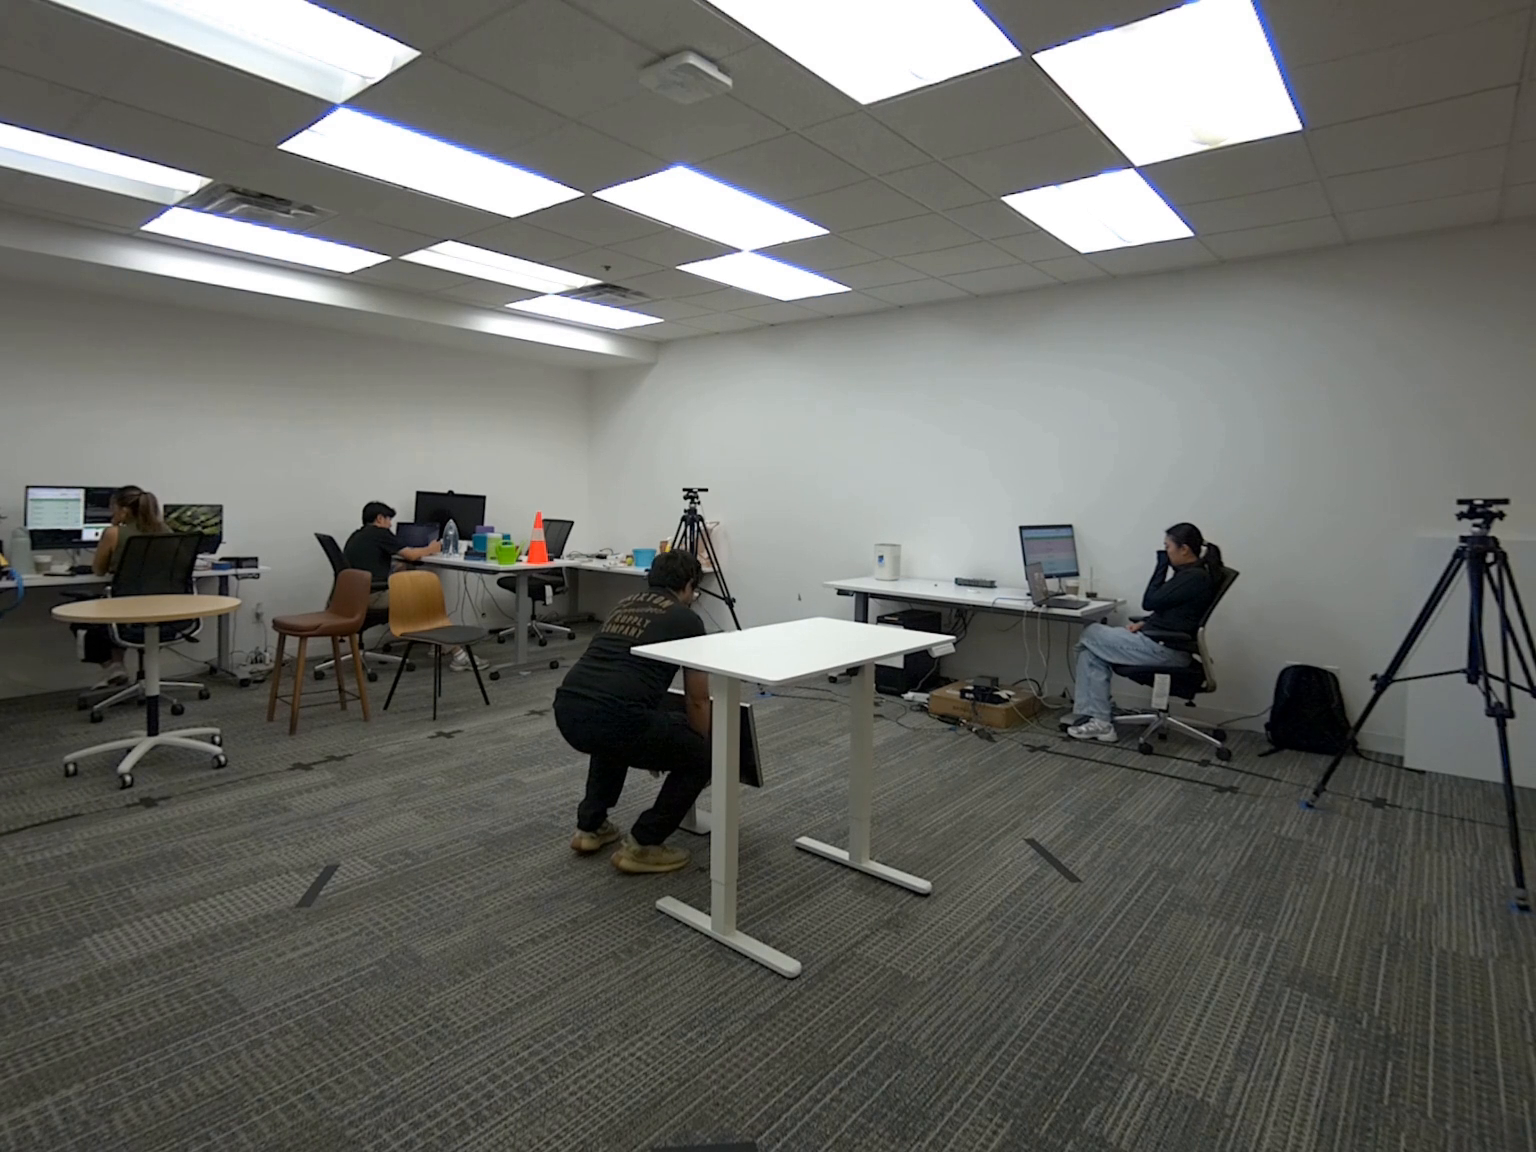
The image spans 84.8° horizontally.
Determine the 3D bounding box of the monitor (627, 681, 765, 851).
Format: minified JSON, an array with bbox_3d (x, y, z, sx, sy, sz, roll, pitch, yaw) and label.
[{"bbox_3d":[-0.320,0.761,3.514,0.584,0.550,0.205,4,10,37],"label":"monitor"}]
